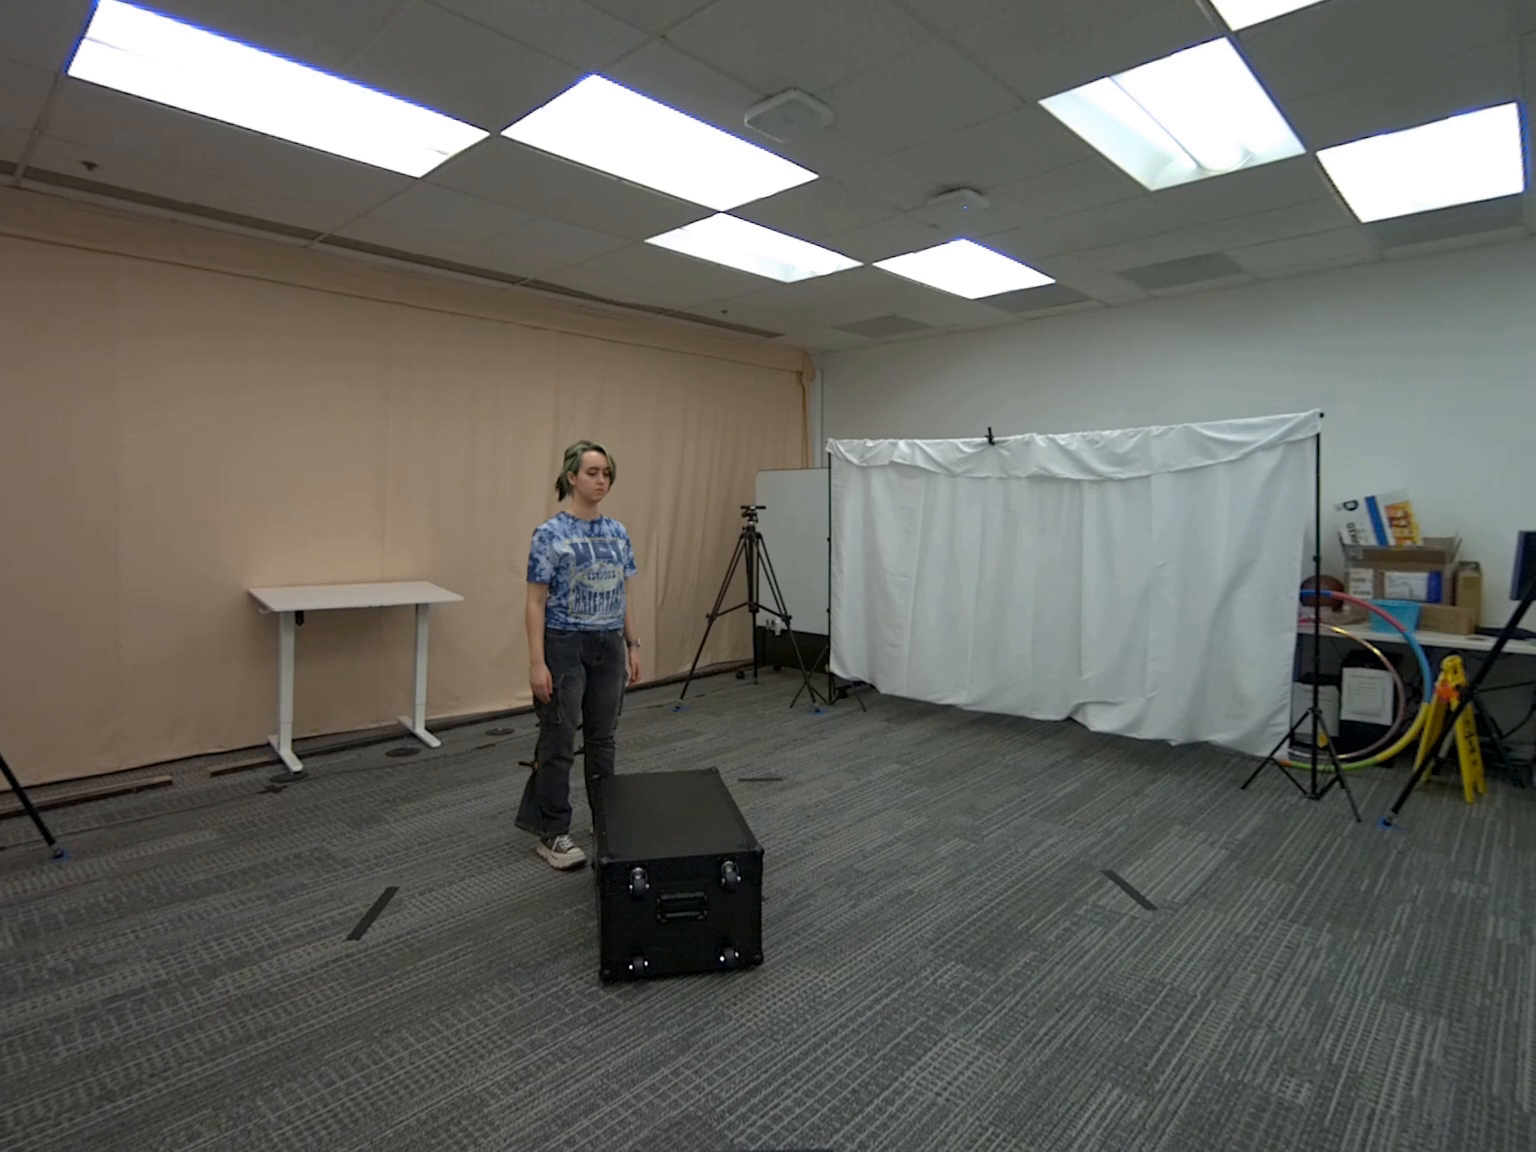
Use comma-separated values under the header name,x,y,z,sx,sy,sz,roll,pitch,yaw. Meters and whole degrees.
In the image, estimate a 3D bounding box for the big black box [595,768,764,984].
name,x,y,z,sx,sy,sz,roll,pitch,yaw
big black box,-0.339,0.964,2.867,0.515,0.395,0.874,-1,5,-12
